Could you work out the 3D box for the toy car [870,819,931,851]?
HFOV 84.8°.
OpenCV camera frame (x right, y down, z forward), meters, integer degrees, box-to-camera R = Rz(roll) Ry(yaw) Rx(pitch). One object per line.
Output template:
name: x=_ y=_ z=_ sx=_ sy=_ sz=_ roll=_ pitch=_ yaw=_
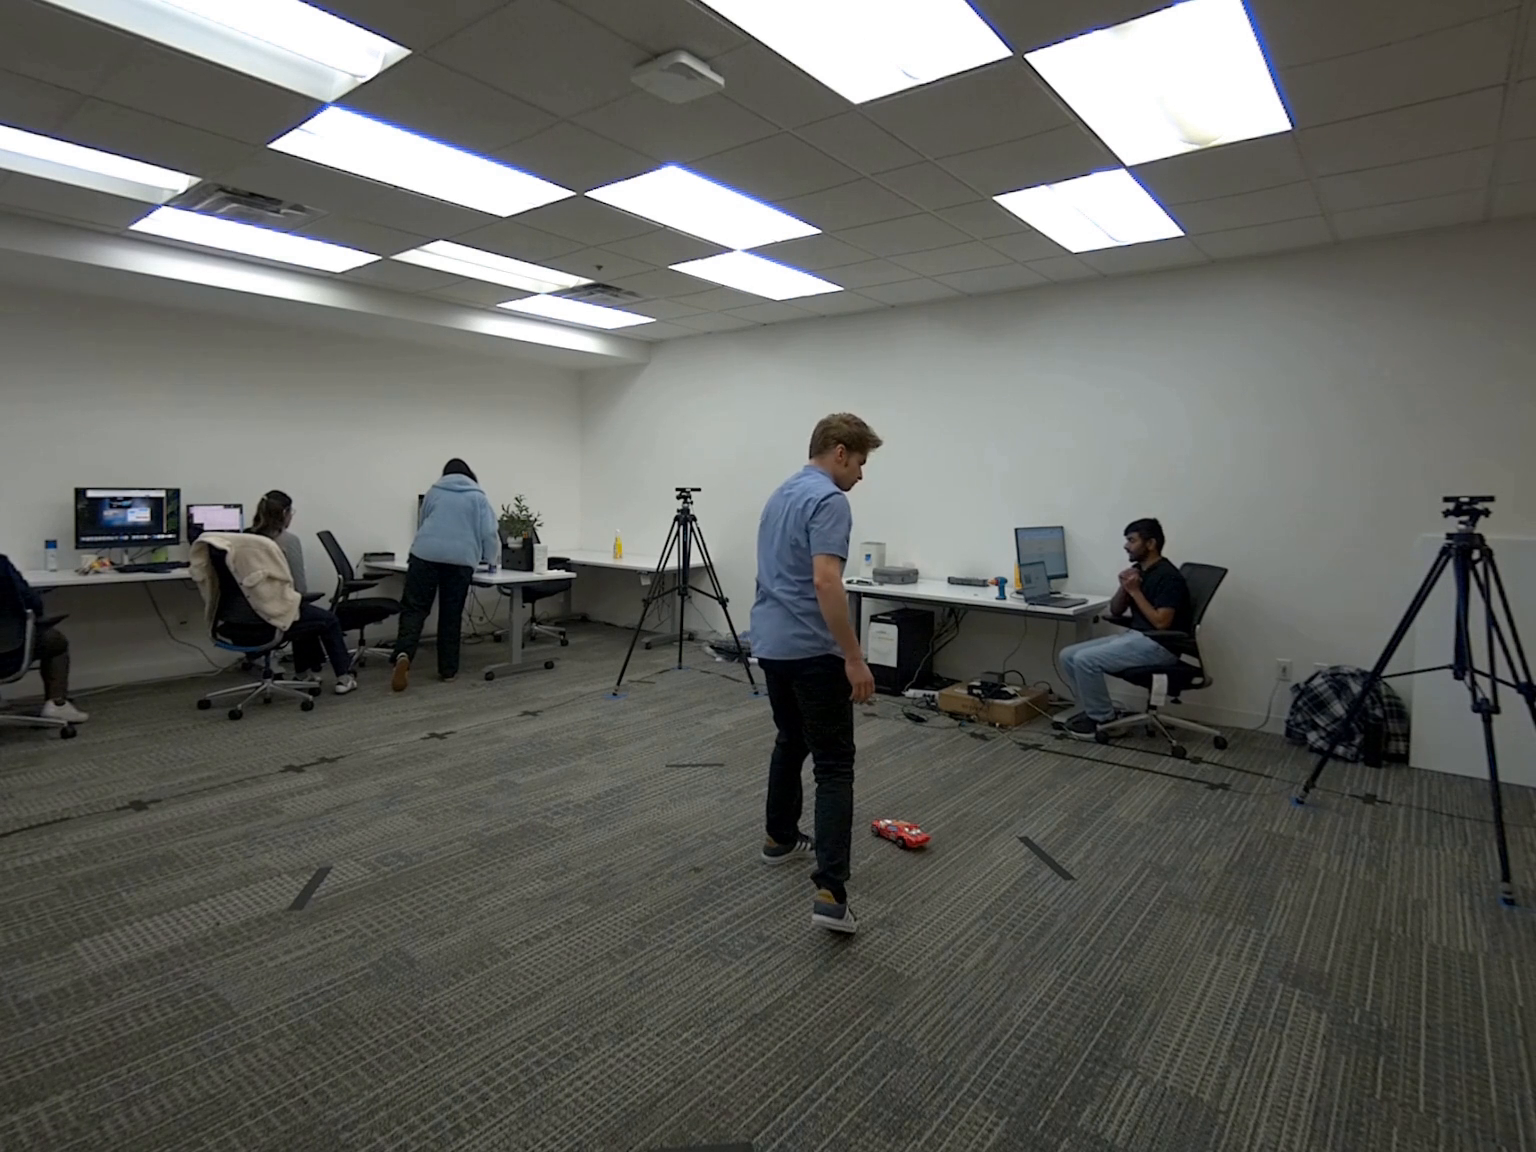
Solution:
toy car: x=0.527 y=1.024 z=3.394 sx=0.126 sy=0.084 sz=0.261 roll=-1 pitch=-5 yaw=-36
